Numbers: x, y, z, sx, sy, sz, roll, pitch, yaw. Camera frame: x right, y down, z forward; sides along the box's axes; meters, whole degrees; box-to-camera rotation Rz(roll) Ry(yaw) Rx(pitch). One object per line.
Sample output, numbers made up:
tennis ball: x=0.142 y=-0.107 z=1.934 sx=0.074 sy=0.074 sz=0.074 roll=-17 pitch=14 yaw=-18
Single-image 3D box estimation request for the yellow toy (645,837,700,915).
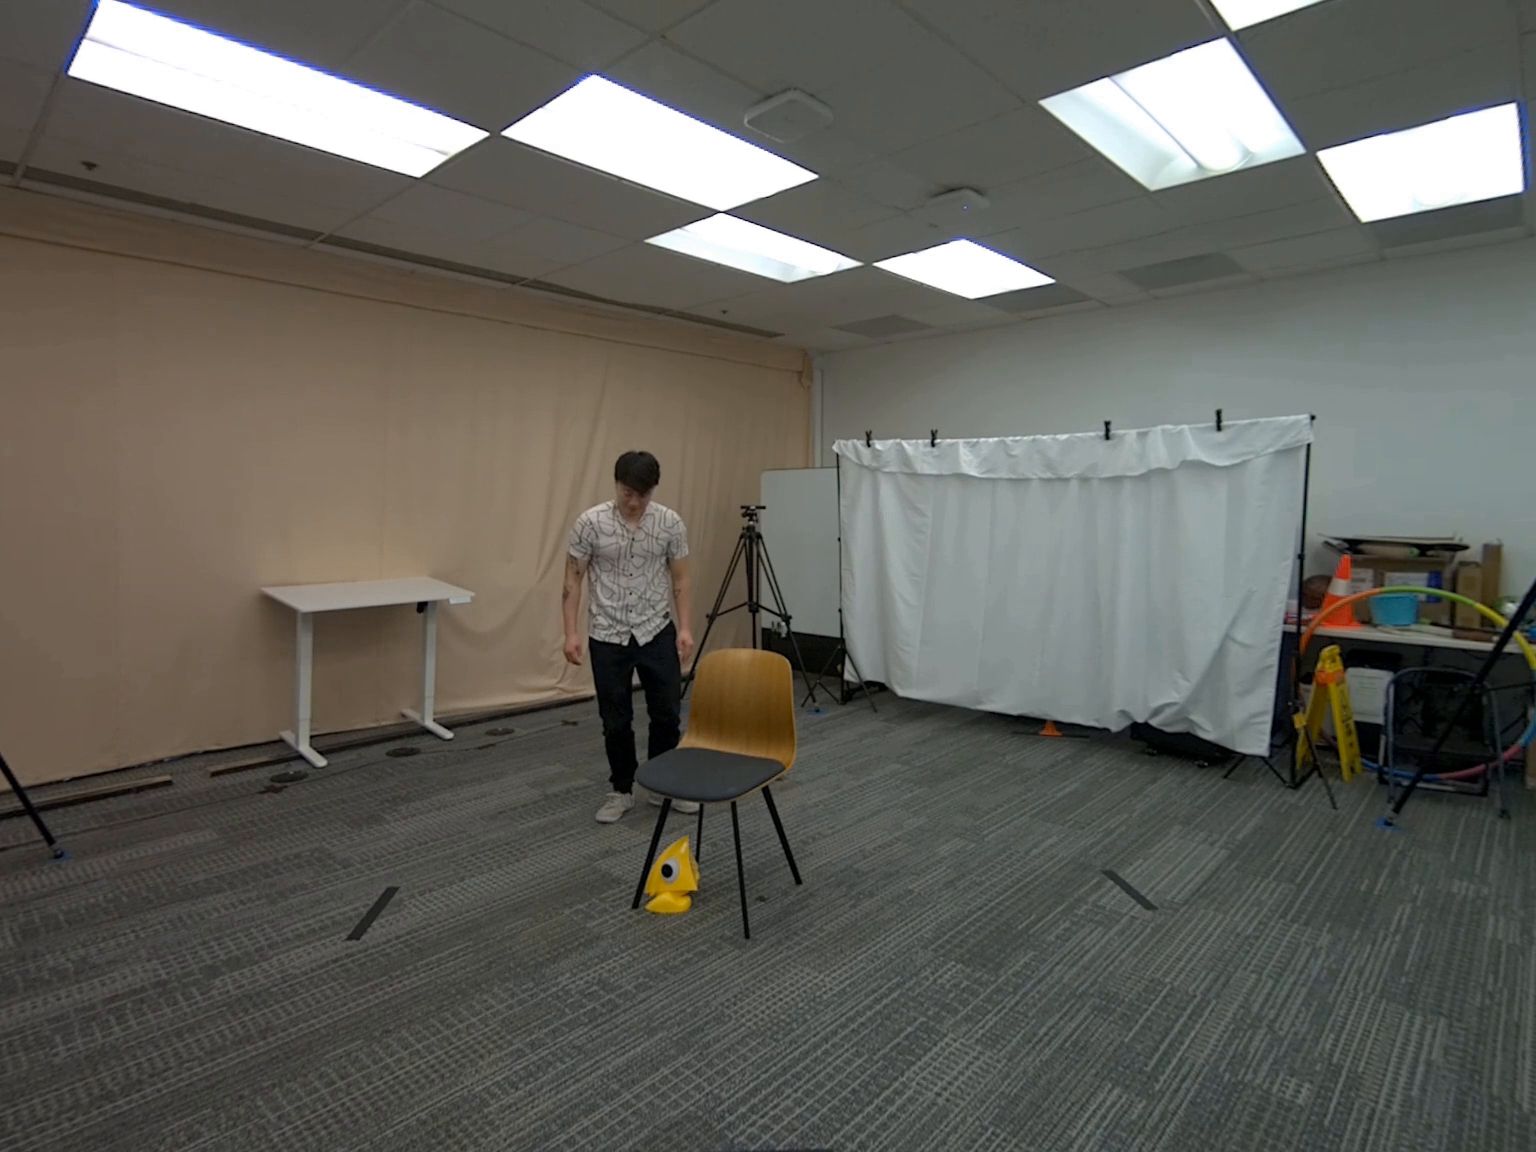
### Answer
yellow toy: x=-0.341 y=1.029 z=2.976 sx=0.193 sy=0.230 sz=0.205 roll=1 pitch=3 yaw=-3
